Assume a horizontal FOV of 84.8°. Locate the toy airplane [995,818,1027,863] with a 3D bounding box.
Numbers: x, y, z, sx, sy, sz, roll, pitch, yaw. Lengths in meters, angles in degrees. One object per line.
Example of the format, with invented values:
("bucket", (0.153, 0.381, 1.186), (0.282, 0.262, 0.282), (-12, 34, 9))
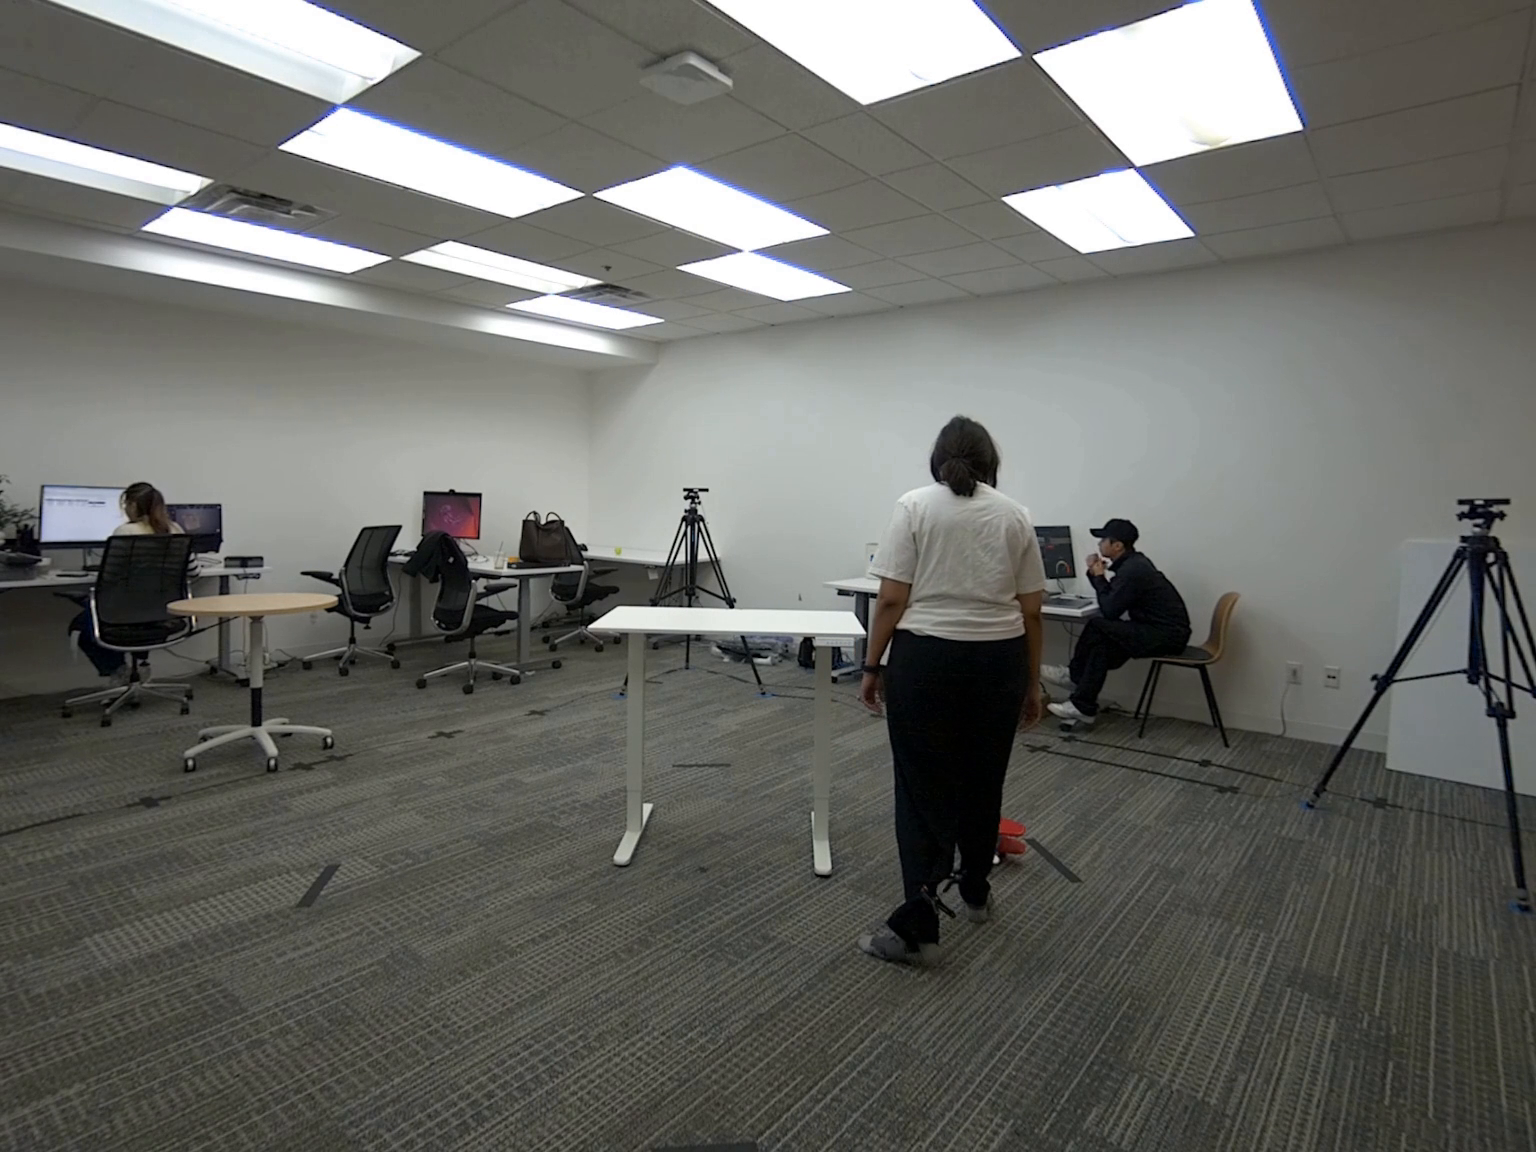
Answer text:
("toy airplane", (0.852, 1.006, 3.229), (0.251, 0.156, 0.260), (2, 4, 0))
